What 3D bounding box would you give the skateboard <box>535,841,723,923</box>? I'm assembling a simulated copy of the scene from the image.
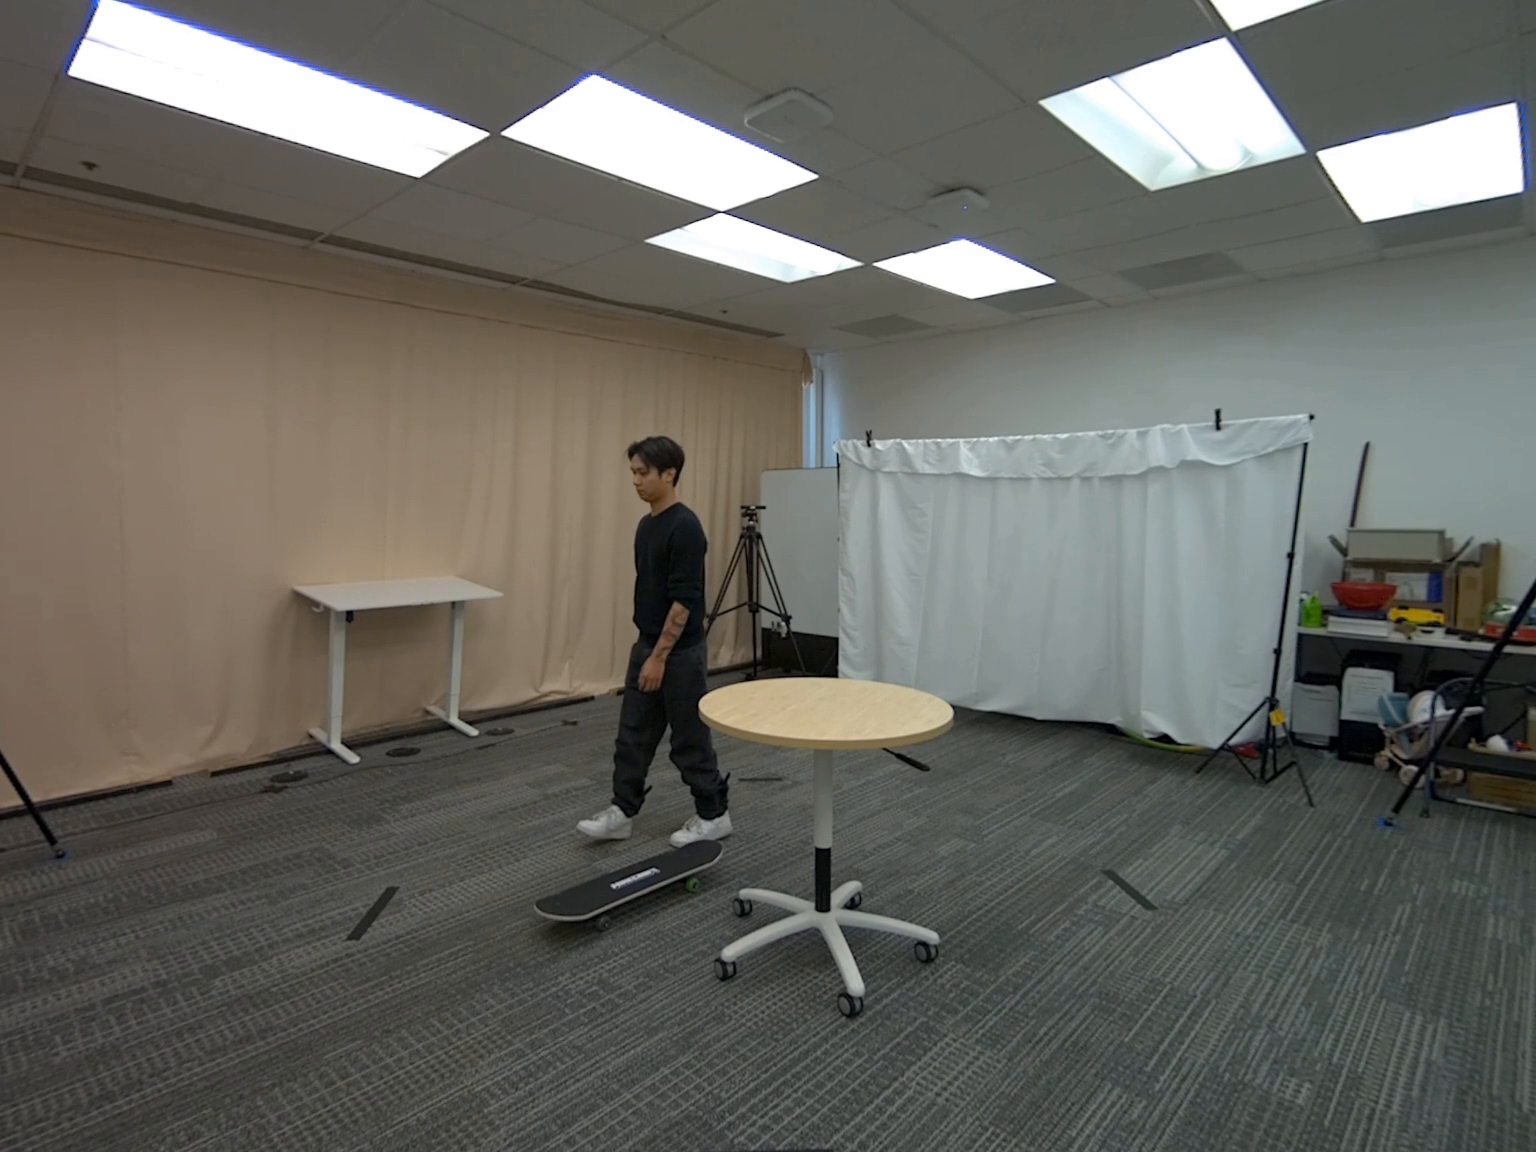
[{"bbox_3d":[-0.471,1.094,2.956,0.200,0.110,0.761,4,6,45],"label":"skateboard"}]
